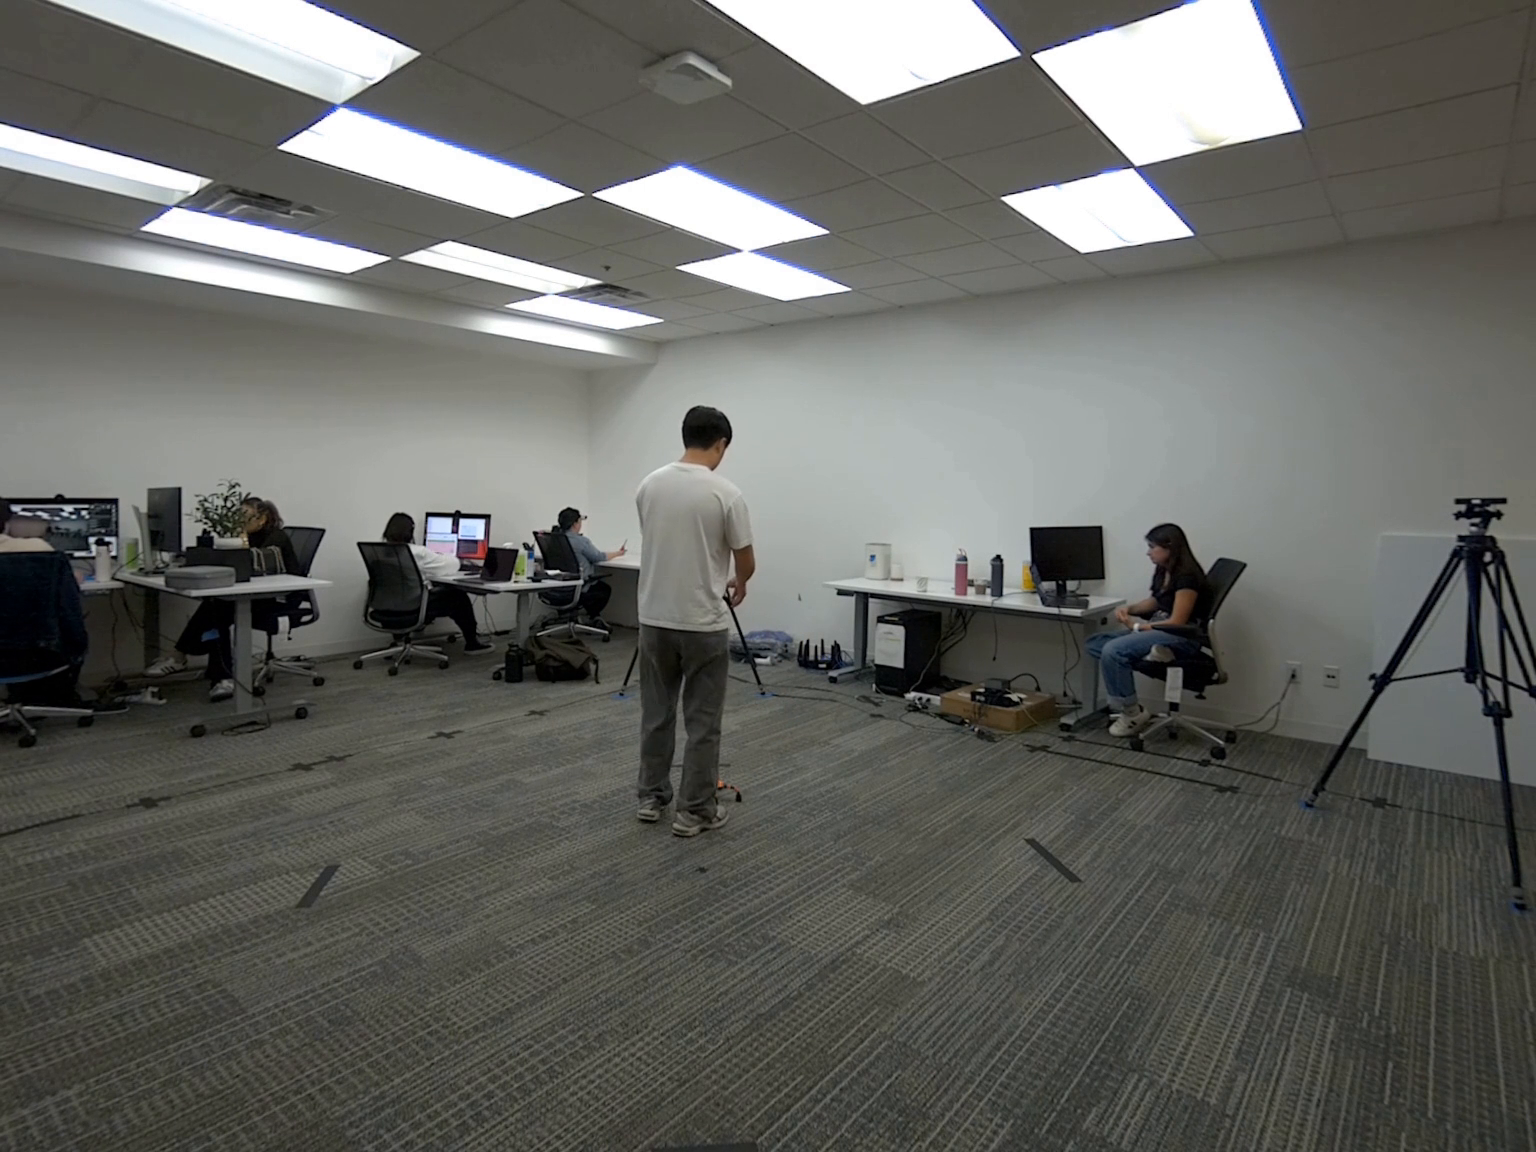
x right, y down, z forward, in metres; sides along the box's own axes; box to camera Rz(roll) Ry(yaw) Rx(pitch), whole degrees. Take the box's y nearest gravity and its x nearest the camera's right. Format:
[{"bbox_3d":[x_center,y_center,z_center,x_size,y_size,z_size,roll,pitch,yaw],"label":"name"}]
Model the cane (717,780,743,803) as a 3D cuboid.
[{"bbox_3d":[-0.209,0.534,3.837,0.147,0.906,0.213,0,2,-34],"label":"cane"}]
